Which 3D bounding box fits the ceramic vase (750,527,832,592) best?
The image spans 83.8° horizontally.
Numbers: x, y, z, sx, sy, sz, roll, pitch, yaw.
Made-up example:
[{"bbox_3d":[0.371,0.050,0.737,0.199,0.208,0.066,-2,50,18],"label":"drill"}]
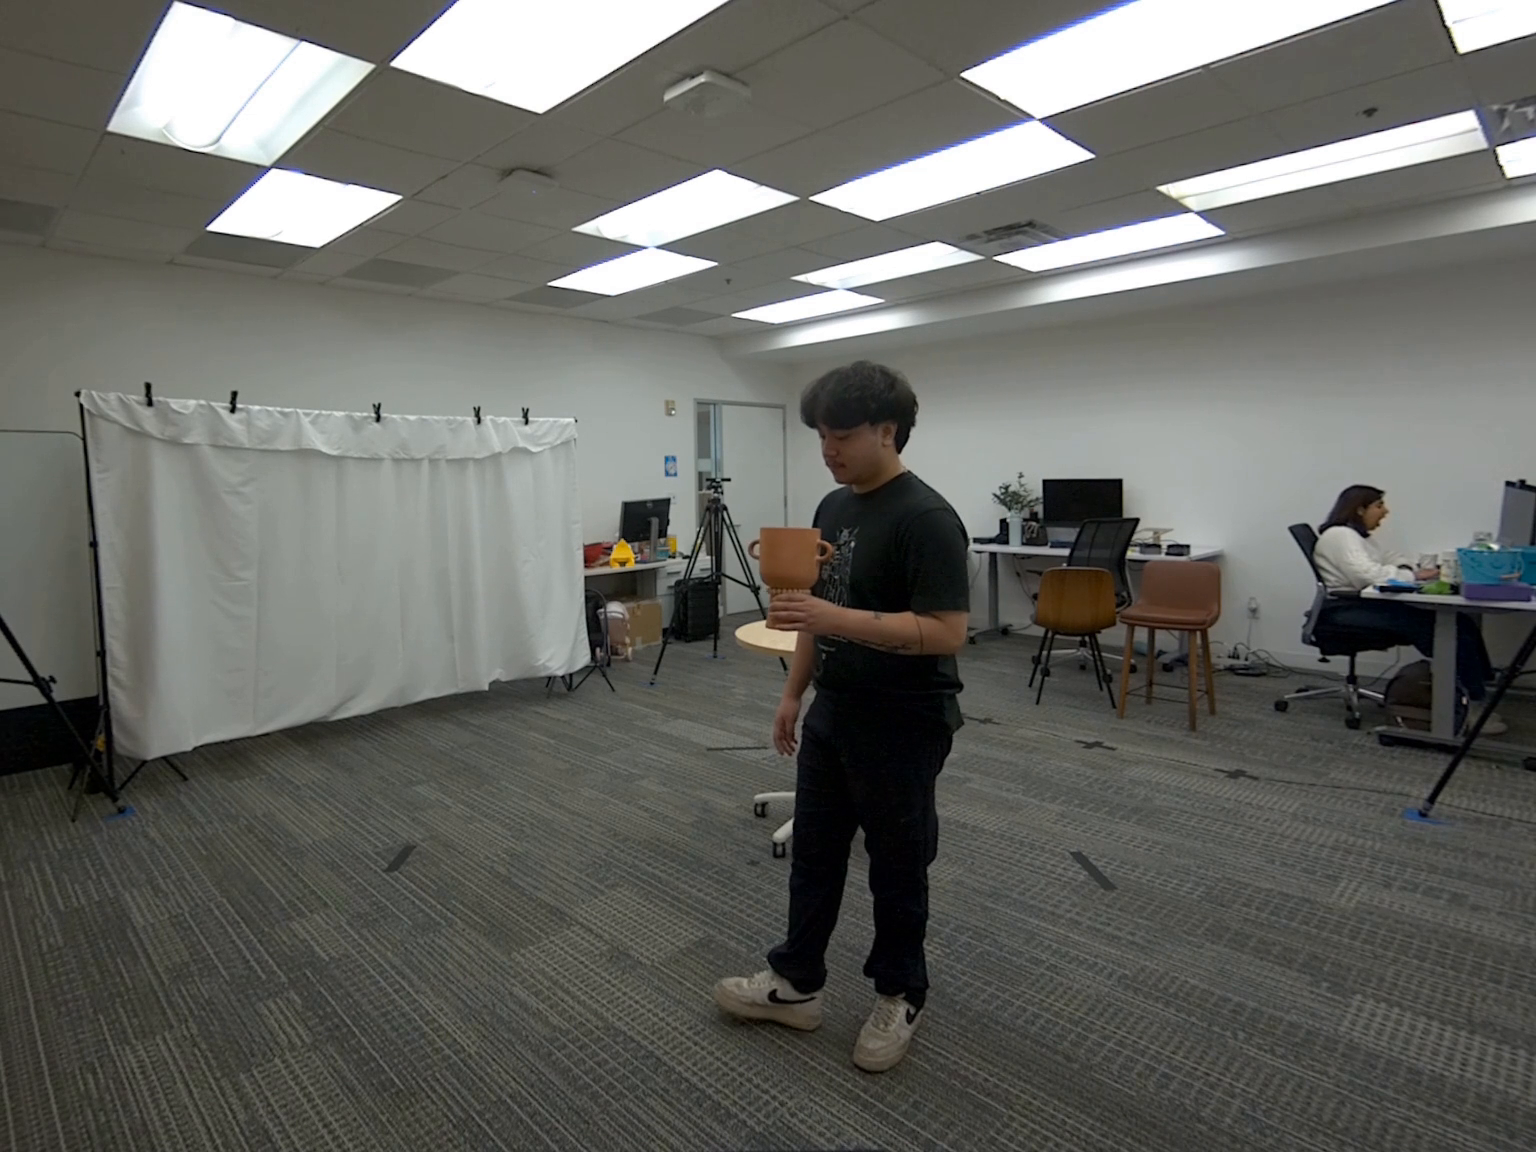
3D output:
[{"bbox_3d":[0.040,0.005,1.873,0.132,0.220,0.162,1,1,-24],"label":"ceramic vase"}]
